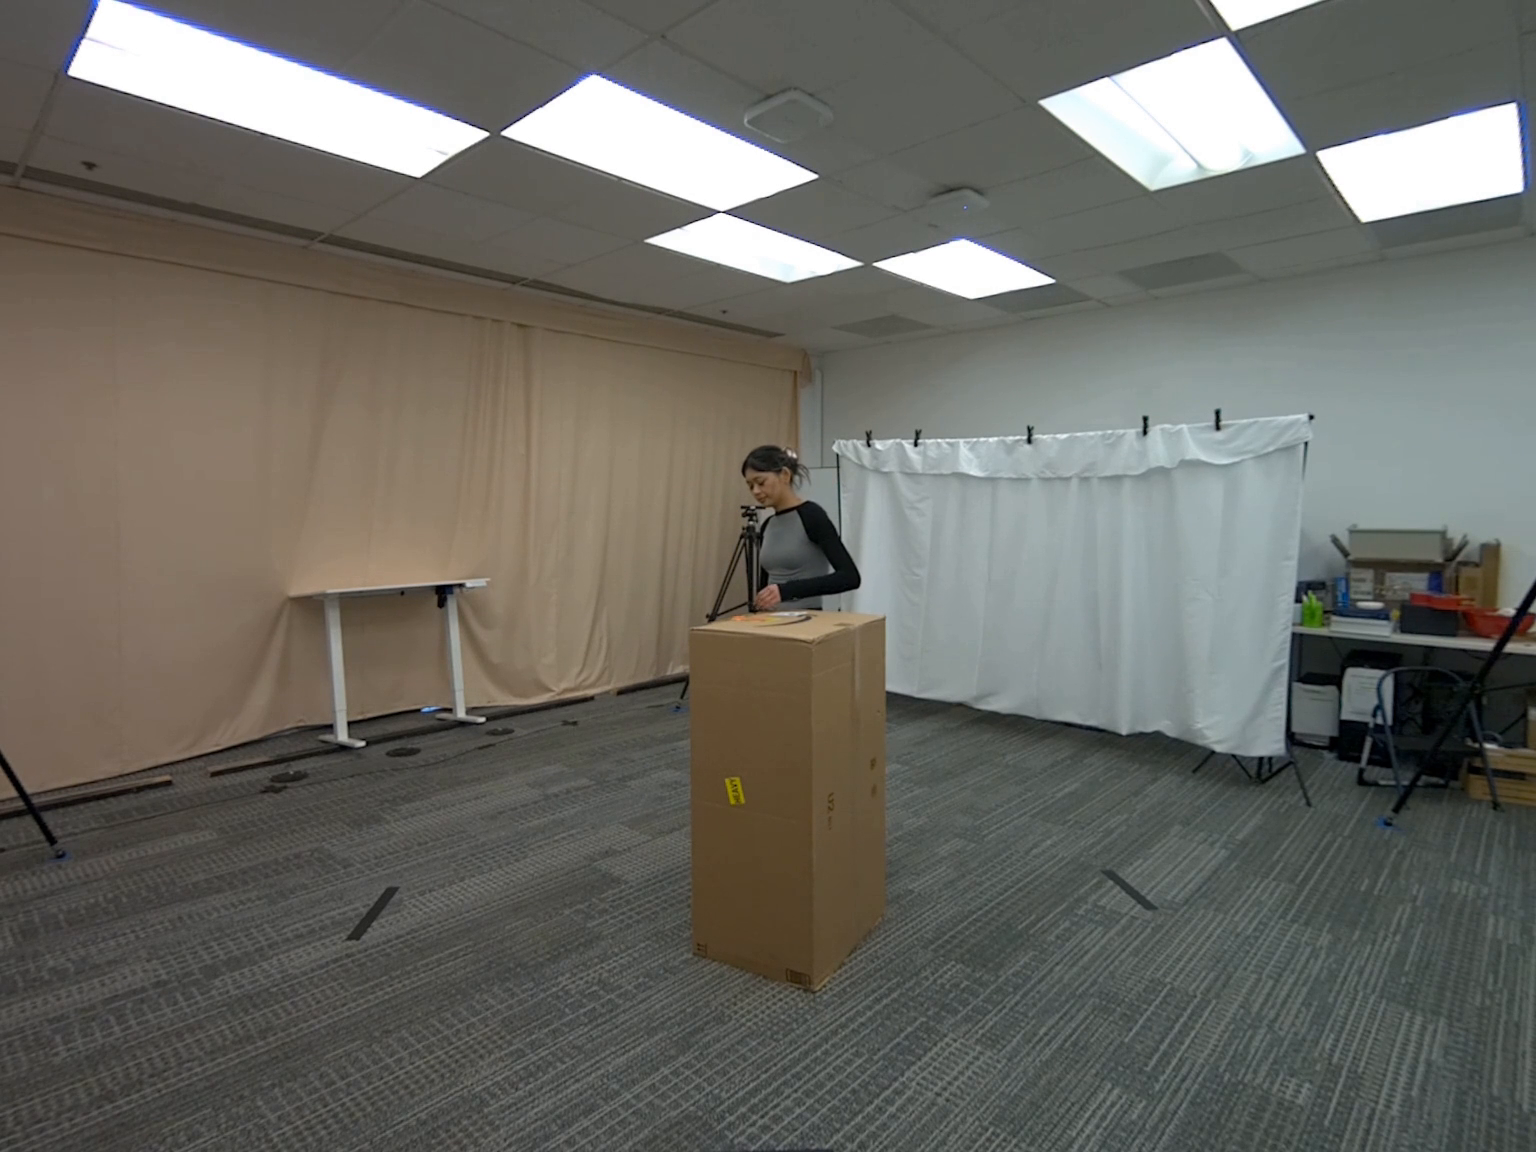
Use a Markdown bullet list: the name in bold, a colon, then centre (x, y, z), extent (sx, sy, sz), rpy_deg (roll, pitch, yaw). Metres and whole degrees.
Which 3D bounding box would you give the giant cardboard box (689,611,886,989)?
- **giant cardboard box**: centre (0.083, 0.657, 2.719), extent (0.439, 1.024, 0.562), rpy_deg (1, 3, 31)
